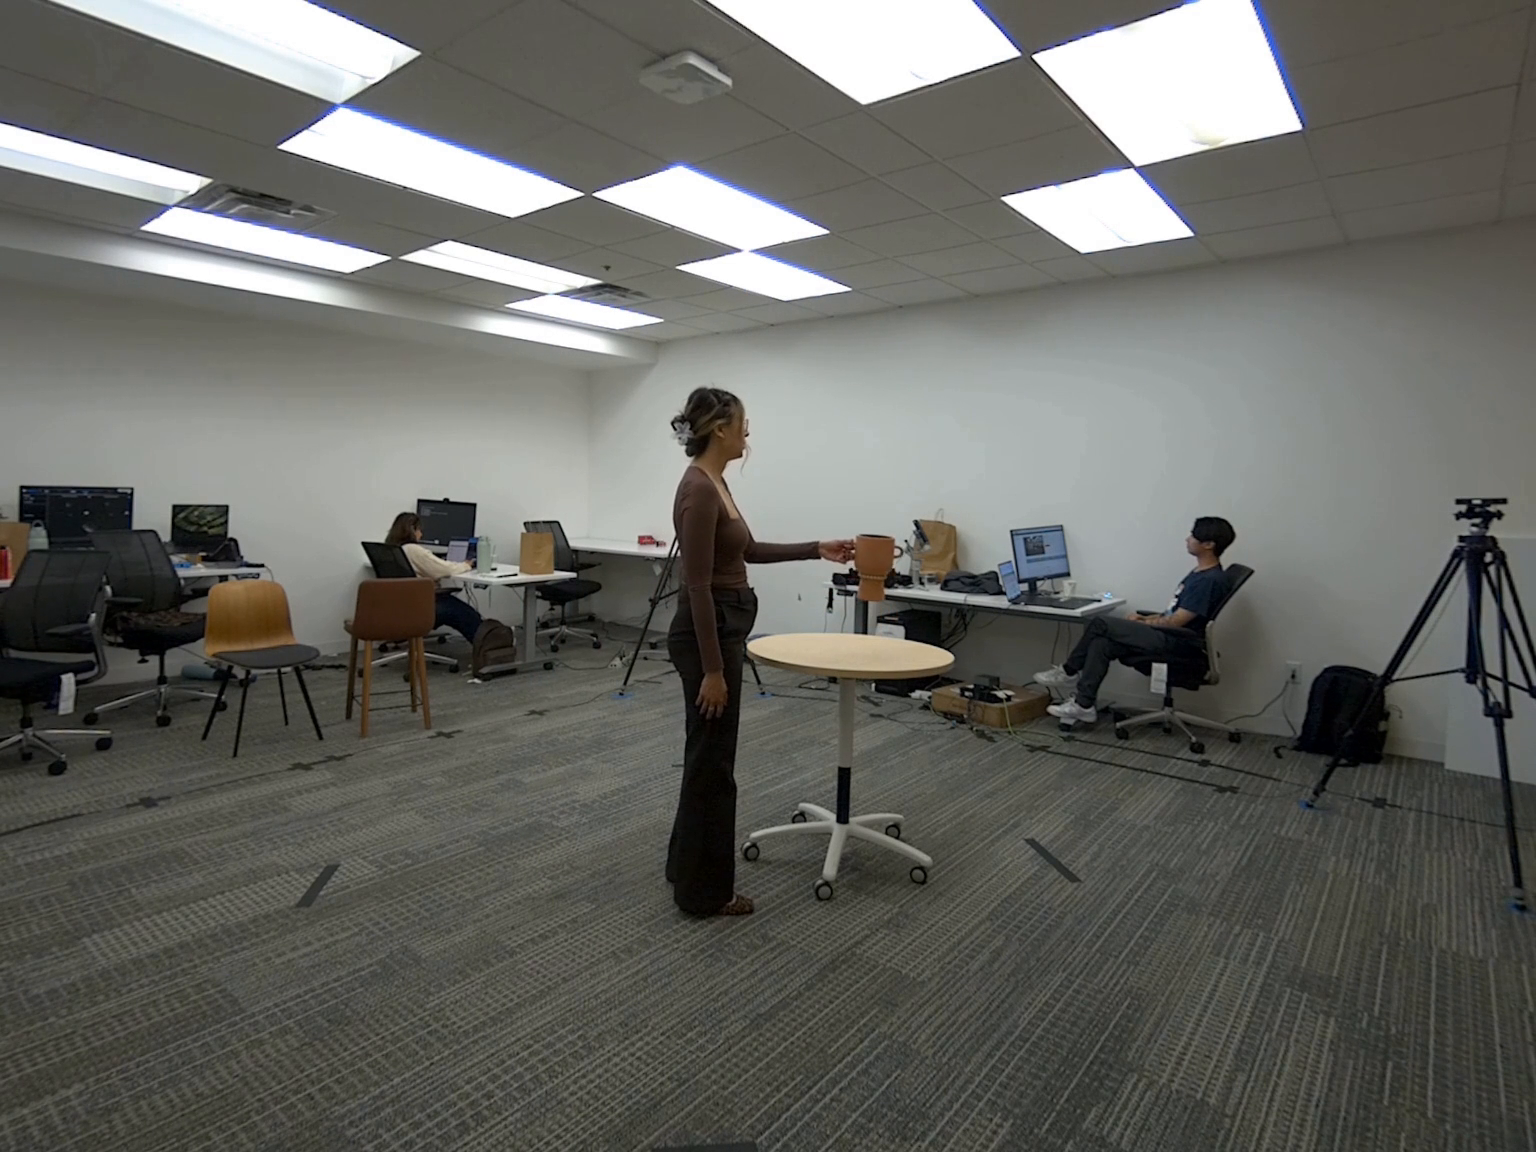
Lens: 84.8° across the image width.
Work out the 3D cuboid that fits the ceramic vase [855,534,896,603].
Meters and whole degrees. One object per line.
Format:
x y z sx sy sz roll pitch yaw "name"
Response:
0.354 -0.027 2.940 0.164 0.219 0.130 9 8 42 "ceramic vase"
